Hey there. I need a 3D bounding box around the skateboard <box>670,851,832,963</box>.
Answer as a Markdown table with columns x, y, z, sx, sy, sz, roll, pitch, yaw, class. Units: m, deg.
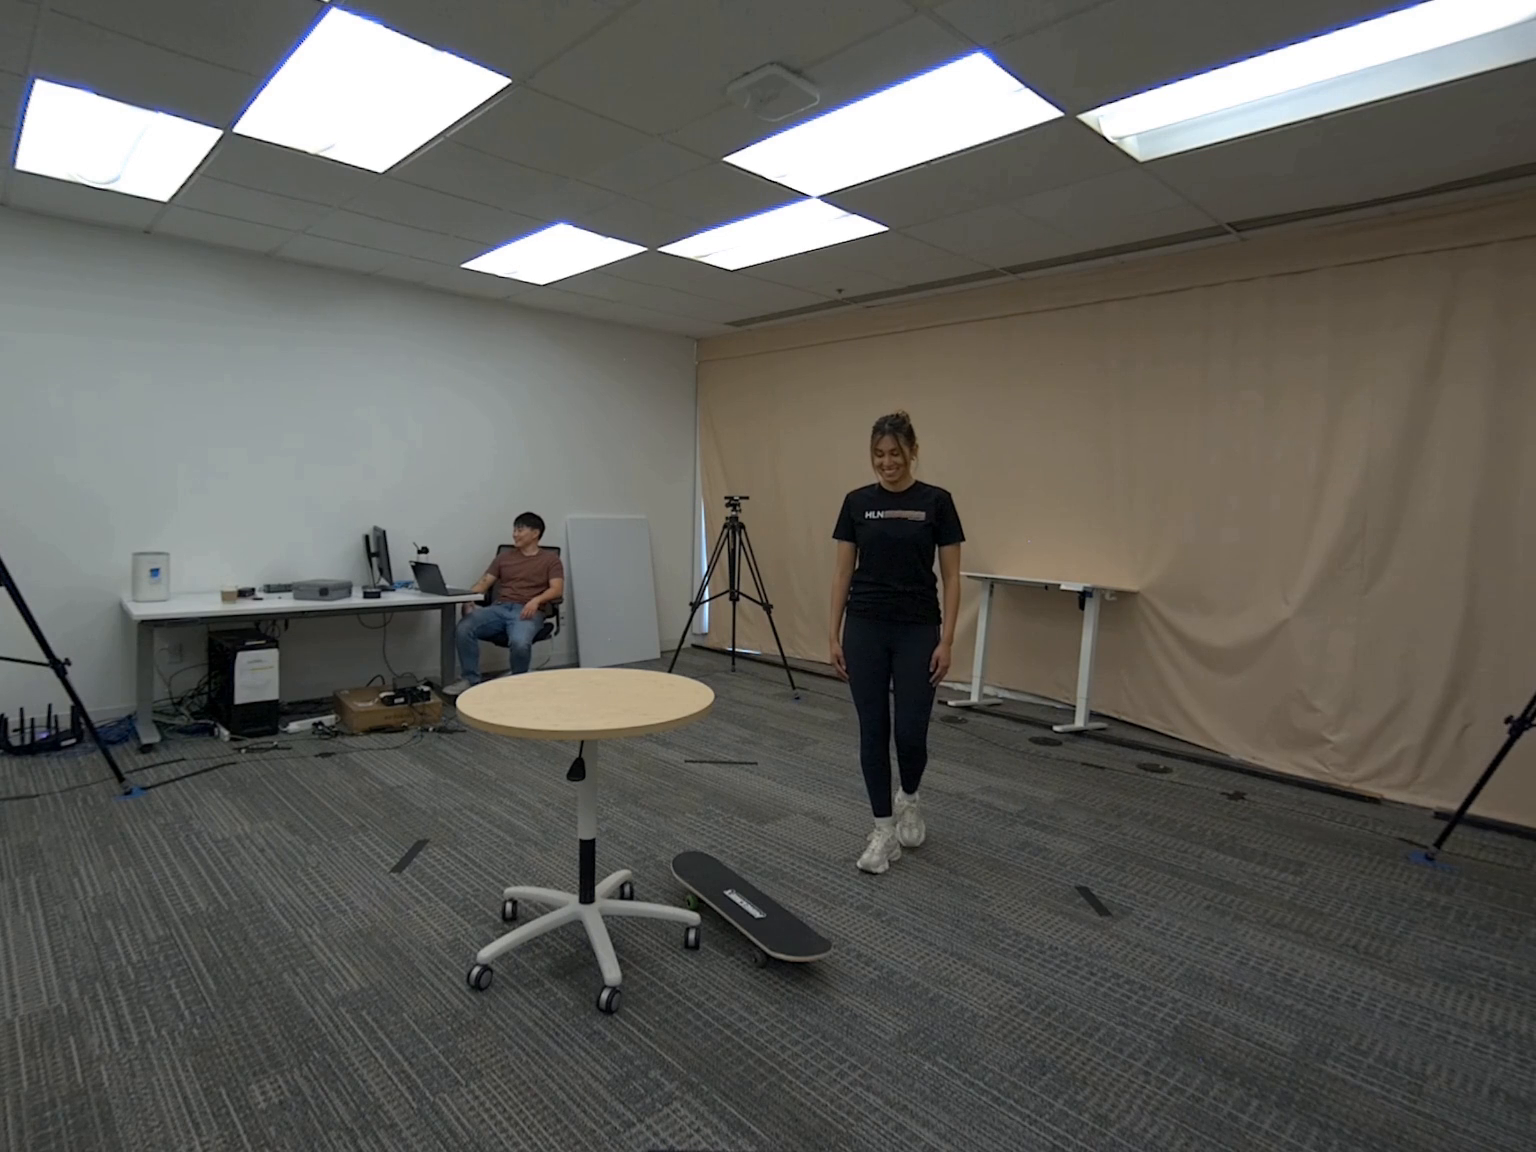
| x | y | z | sx | sy | sz | roll | pitch | yaw | class |
| --- | --- | --- | --- | --- | --- | --- | --- | --- | --- |
| -0.087 | 1.085 | 2.711 | 0.189 | 0.110 | 0.805 | -1 | 6 | -34 | skateboard |
